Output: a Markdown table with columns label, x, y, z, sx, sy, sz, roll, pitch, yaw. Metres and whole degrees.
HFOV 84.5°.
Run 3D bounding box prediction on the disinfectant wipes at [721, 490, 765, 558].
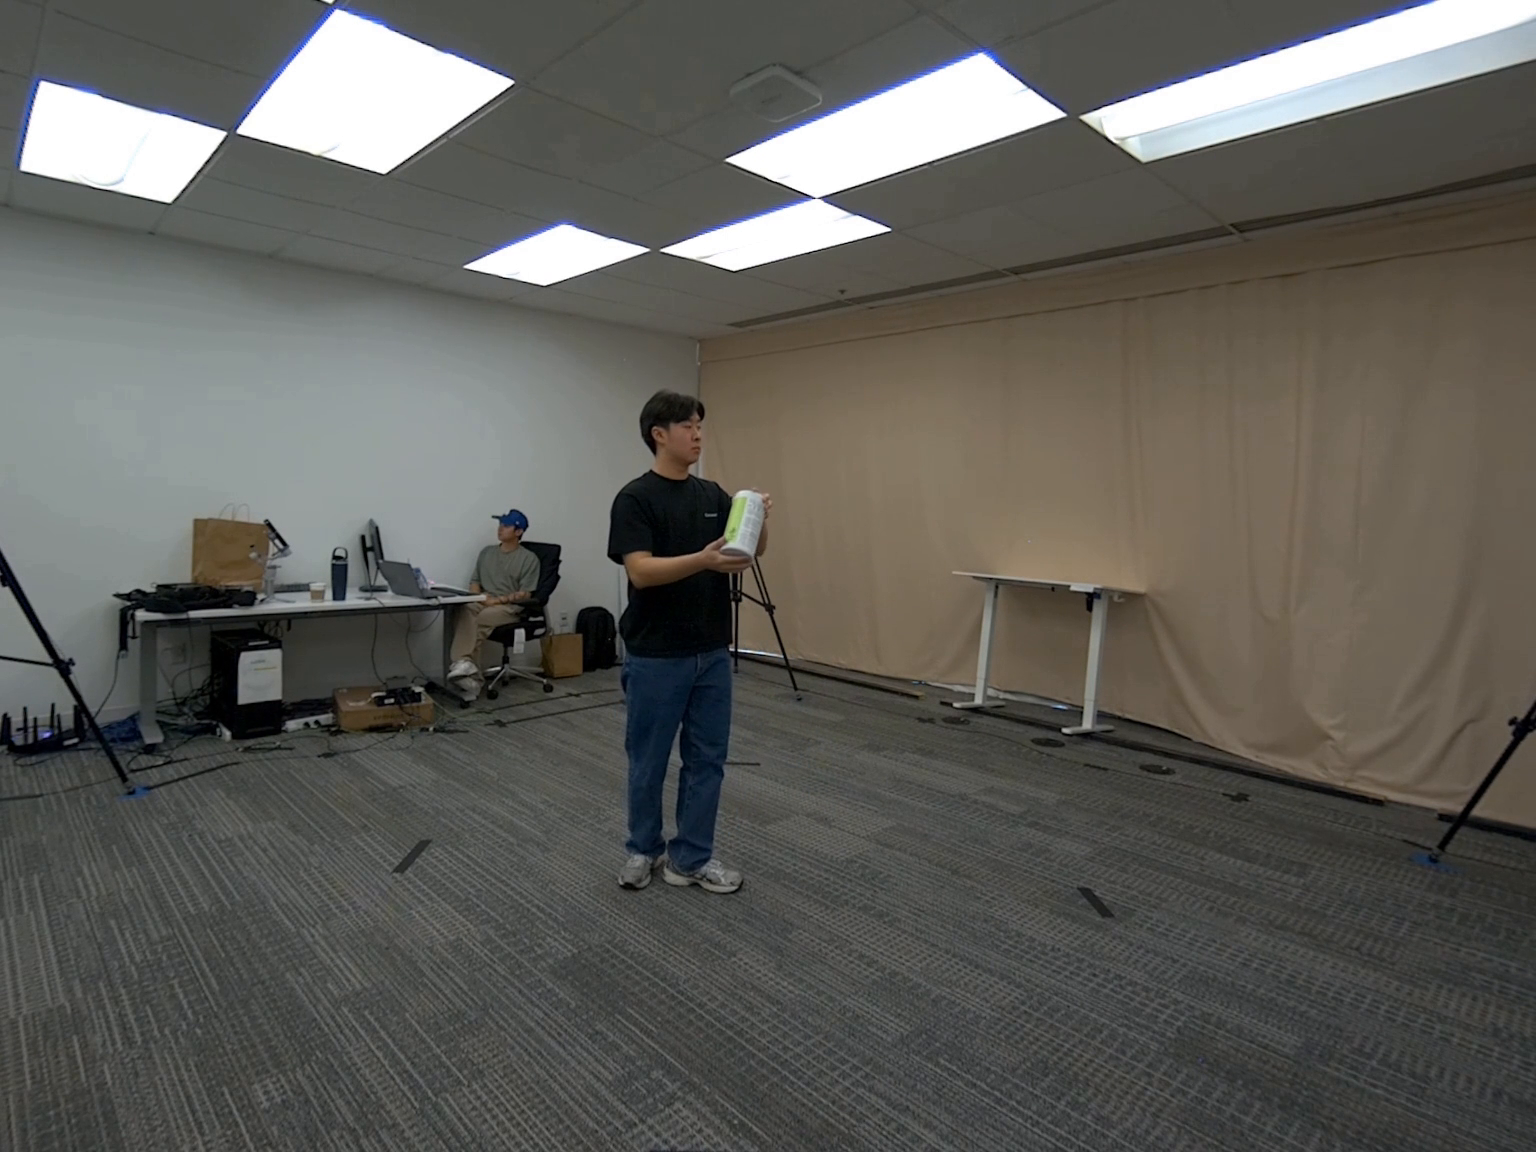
| label | x | y | z | sx | sy | sz | roll | pitch | yaw |
| --- | --- | --- | --- | --- | --- | --- | --- | --- | --- |
| disinfectant wipes | -0.079 | -0.155 | 2.669 | 0.118 | 0.220 | 0.116 | 12 | -24 | 4 |
